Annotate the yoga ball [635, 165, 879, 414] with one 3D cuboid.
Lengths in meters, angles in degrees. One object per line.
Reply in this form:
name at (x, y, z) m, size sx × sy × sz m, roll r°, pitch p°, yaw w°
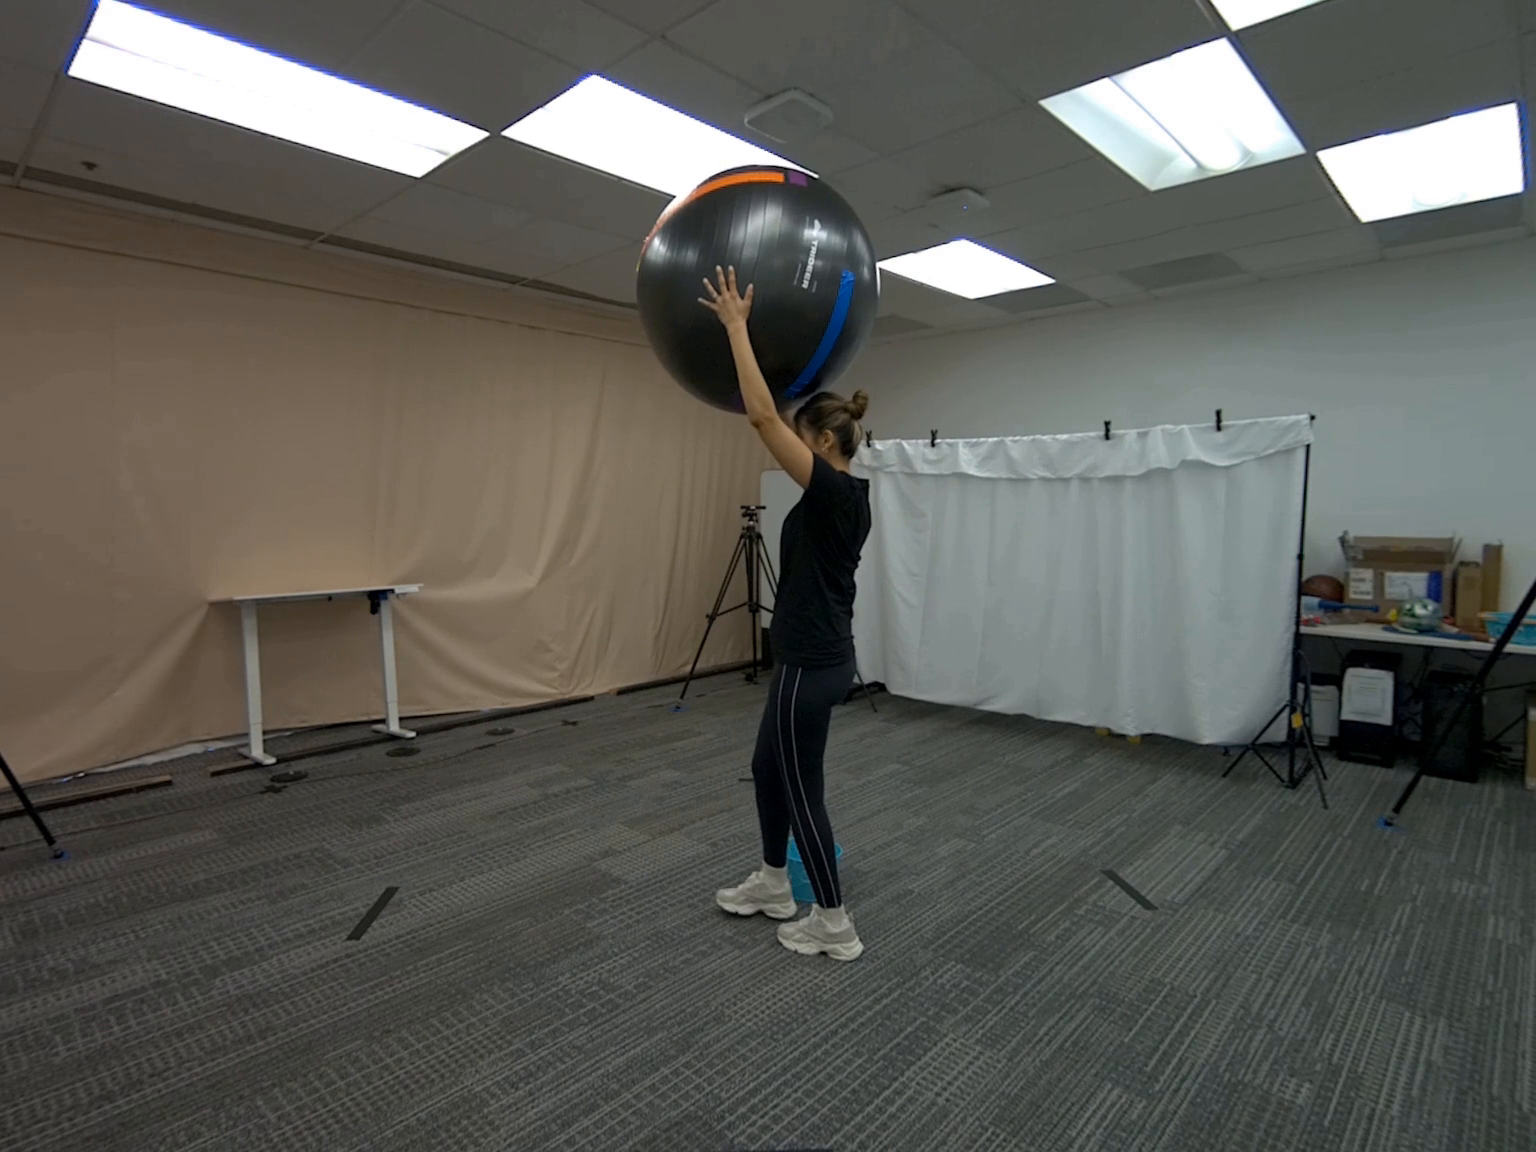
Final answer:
yoga ball at (-0.034, -0.885, 2.664) m, size 0.757 × 0.756 × 0.760 m, roll 0°, pitch 4°, yaw -2°
